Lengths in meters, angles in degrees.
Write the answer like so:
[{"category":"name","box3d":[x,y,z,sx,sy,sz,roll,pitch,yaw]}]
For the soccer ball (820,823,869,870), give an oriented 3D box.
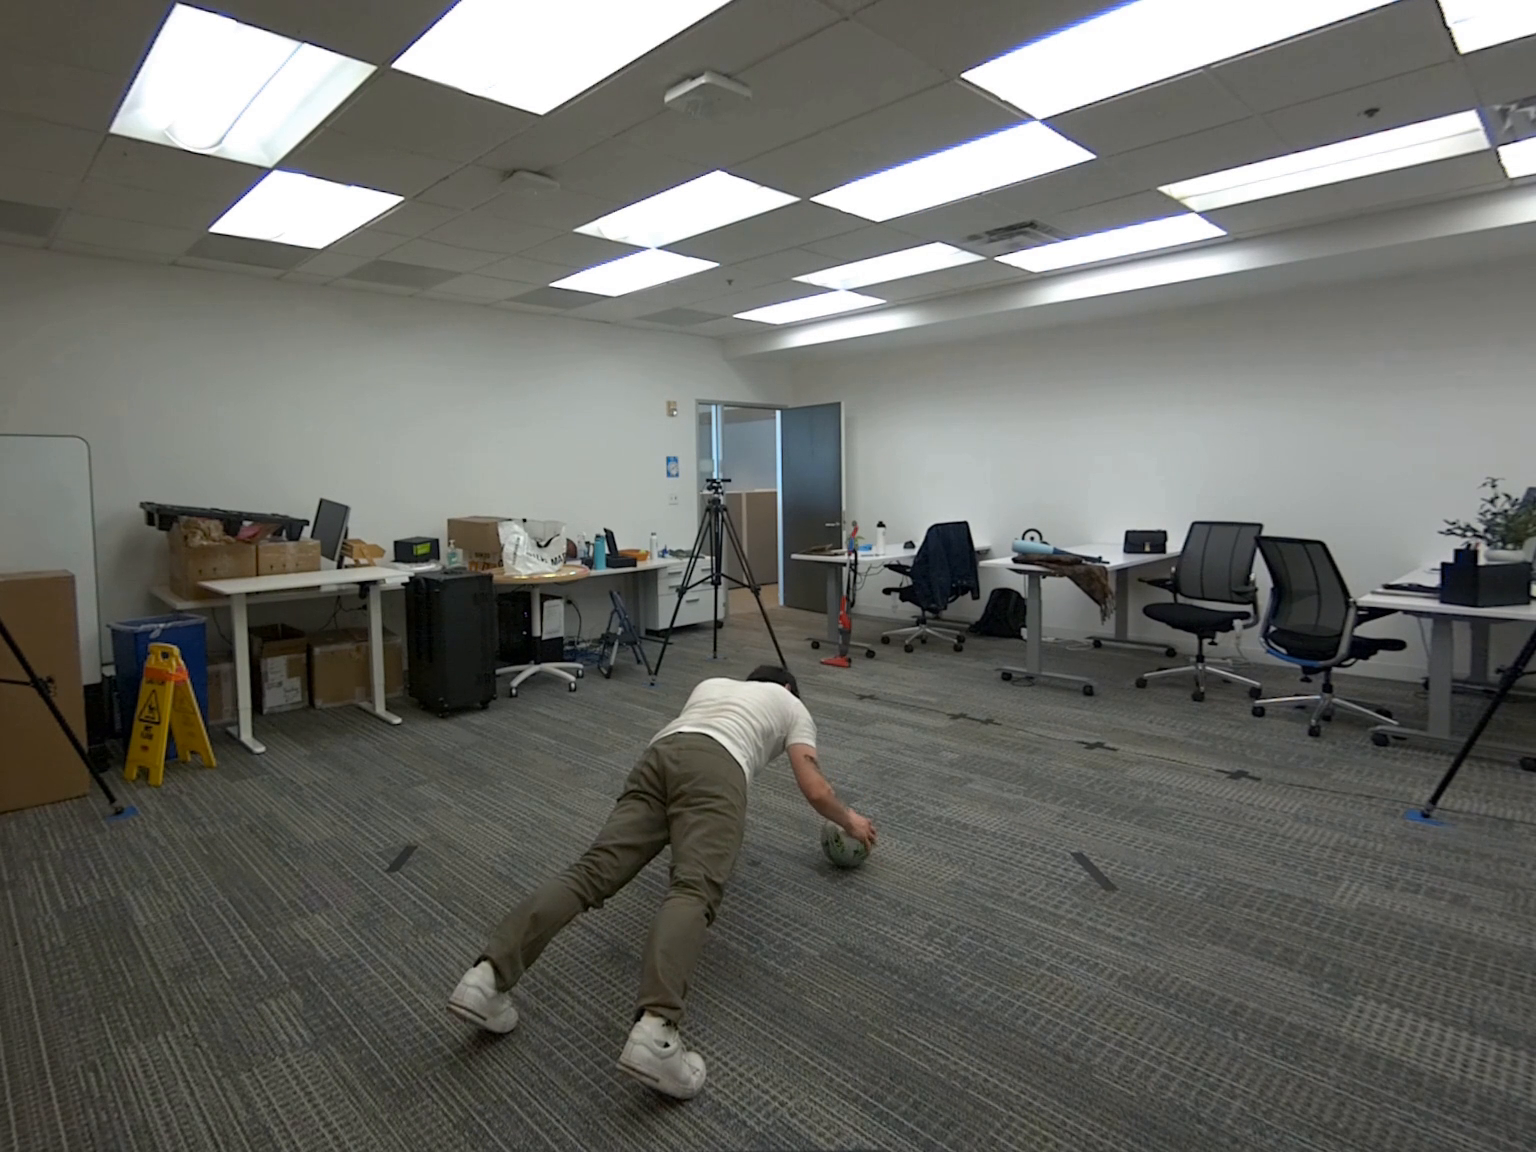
[{"category":"soccer ball","box3d":[0.289,0.946,3.088,0.187,0.187,0.188,-1,5,-2]}]
